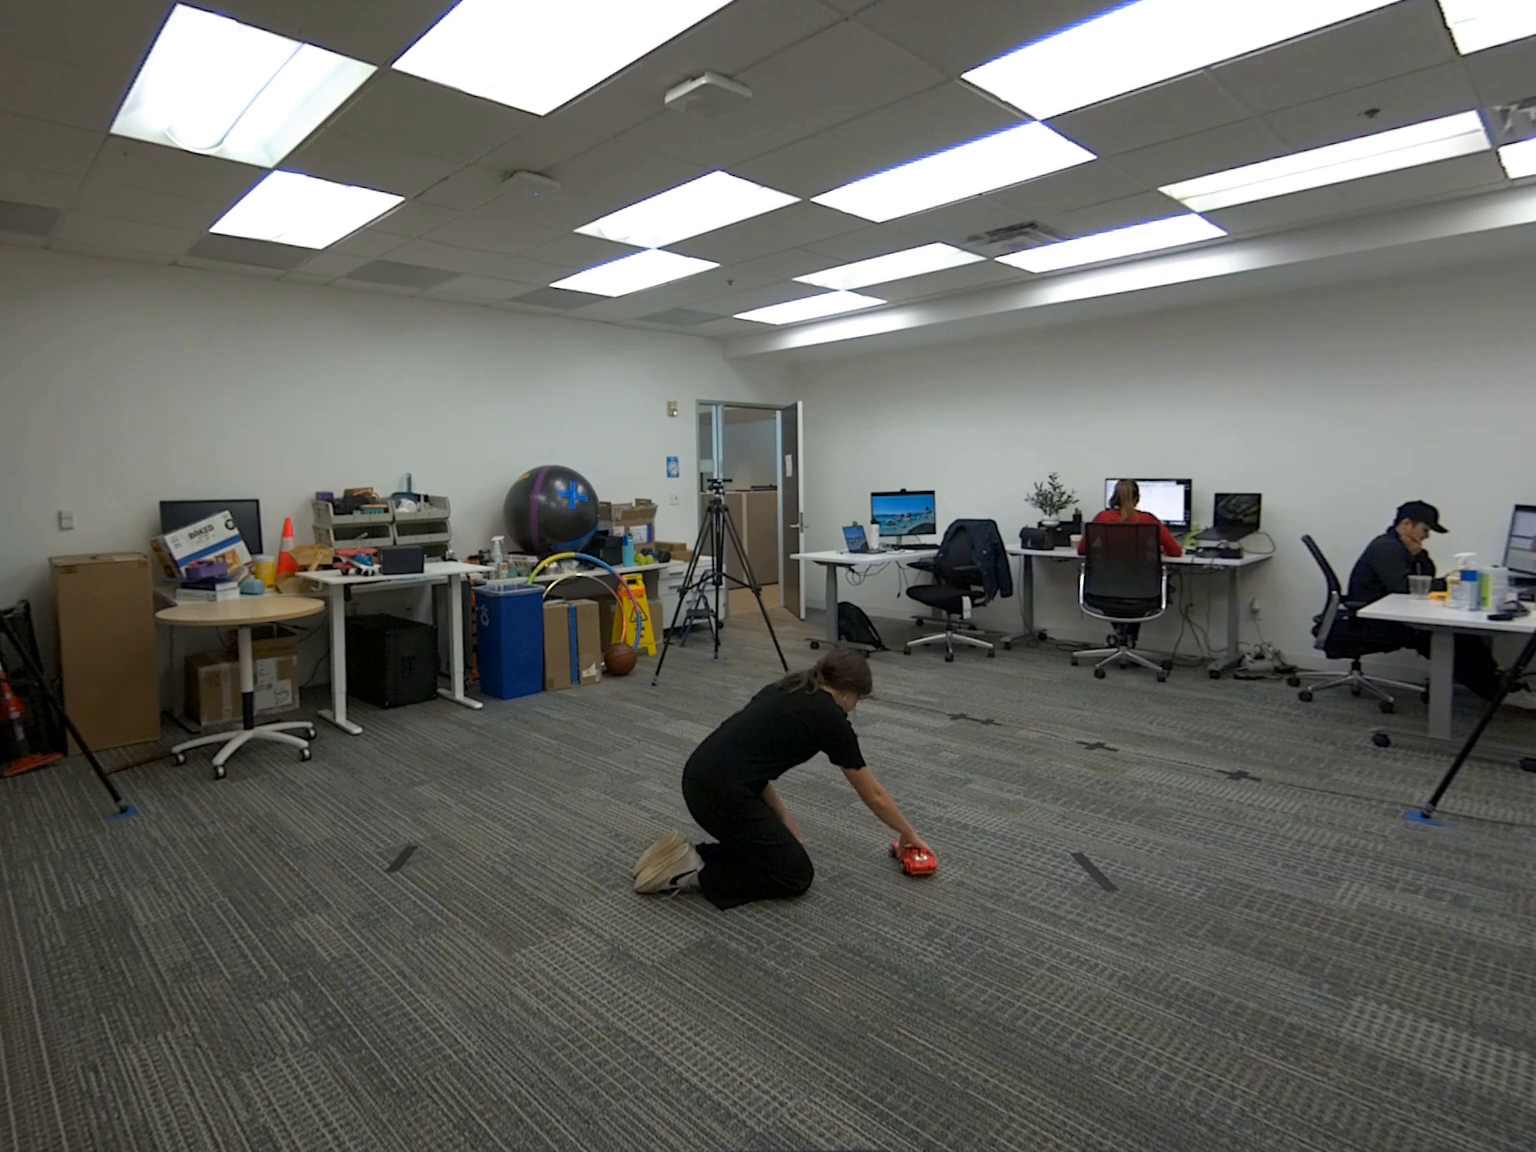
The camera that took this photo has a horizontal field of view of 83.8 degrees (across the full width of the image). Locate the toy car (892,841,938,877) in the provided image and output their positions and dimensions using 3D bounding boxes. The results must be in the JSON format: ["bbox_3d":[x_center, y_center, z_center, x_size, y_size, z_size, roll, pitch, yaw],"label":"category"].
[{"bbox_3d":[0.525,1.011,3.057,0.129,0.083,0.255,-1,-4,-8],"label":"toy car"}]
